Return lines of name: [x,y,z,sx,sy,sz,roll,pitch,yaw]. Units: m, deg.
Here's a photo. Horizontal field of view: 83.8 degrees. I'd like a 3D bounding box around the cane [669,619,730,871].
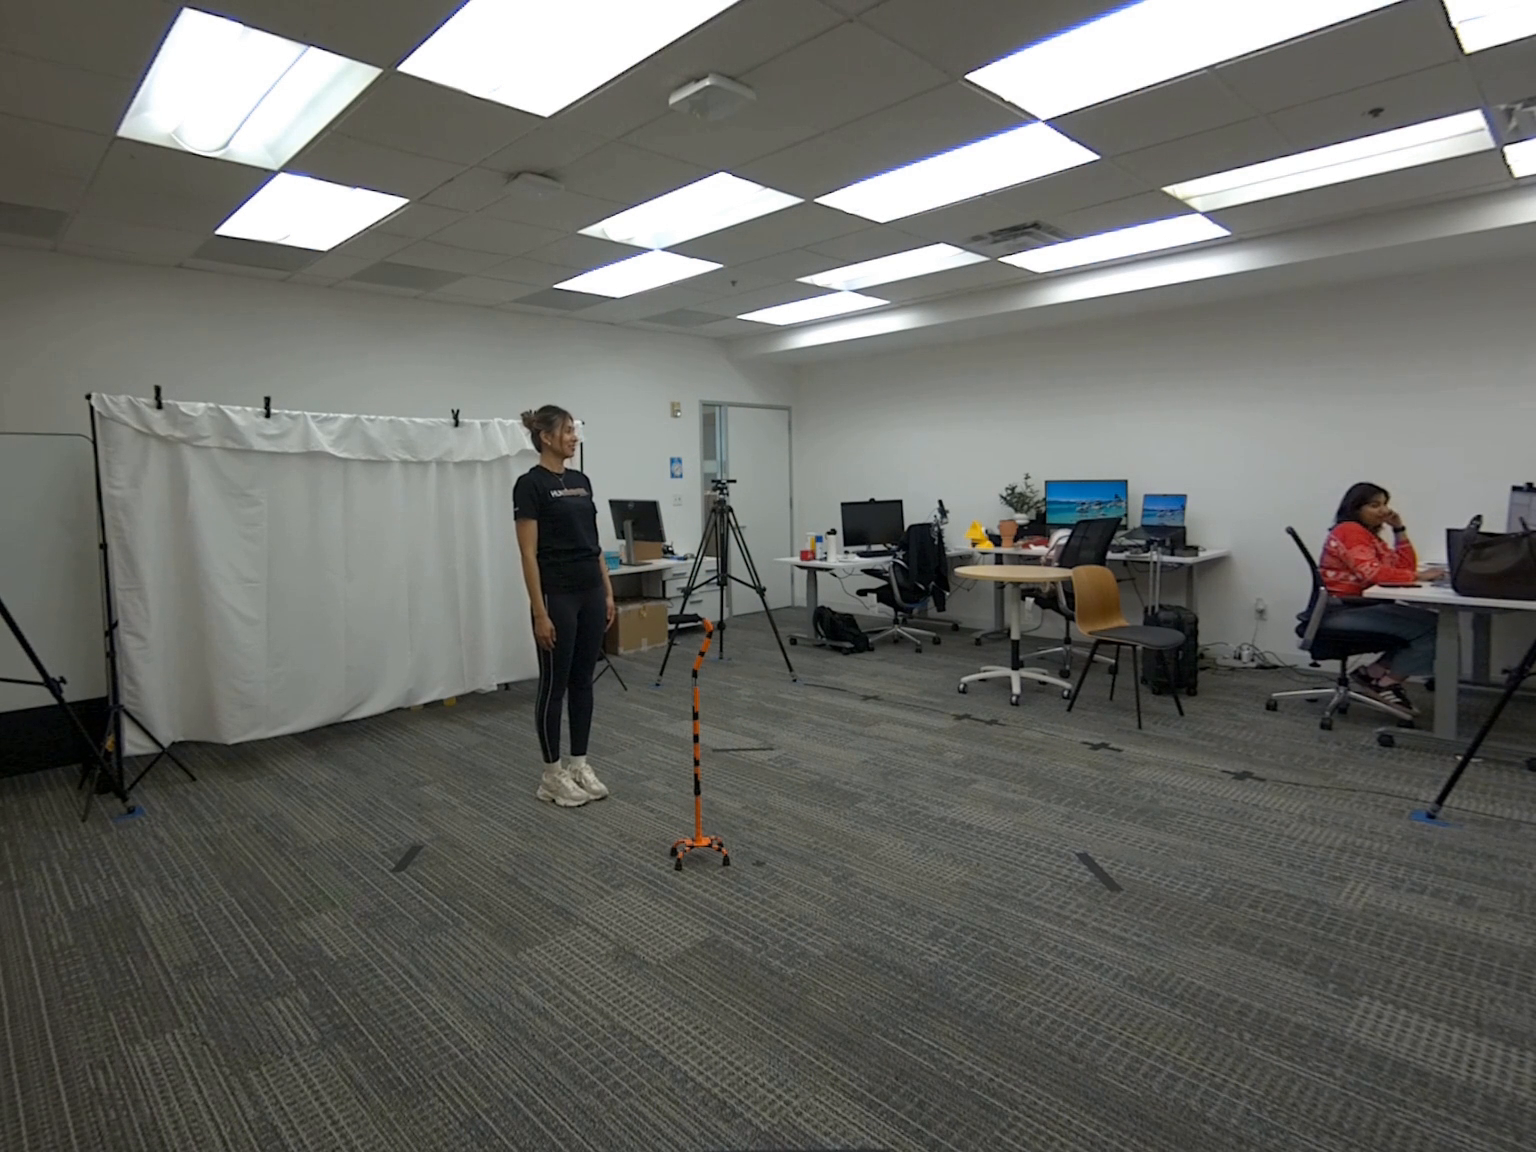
cane: [-0.258,0.596,3.125,0.204,0.905,0.154,-2,3,-13]
